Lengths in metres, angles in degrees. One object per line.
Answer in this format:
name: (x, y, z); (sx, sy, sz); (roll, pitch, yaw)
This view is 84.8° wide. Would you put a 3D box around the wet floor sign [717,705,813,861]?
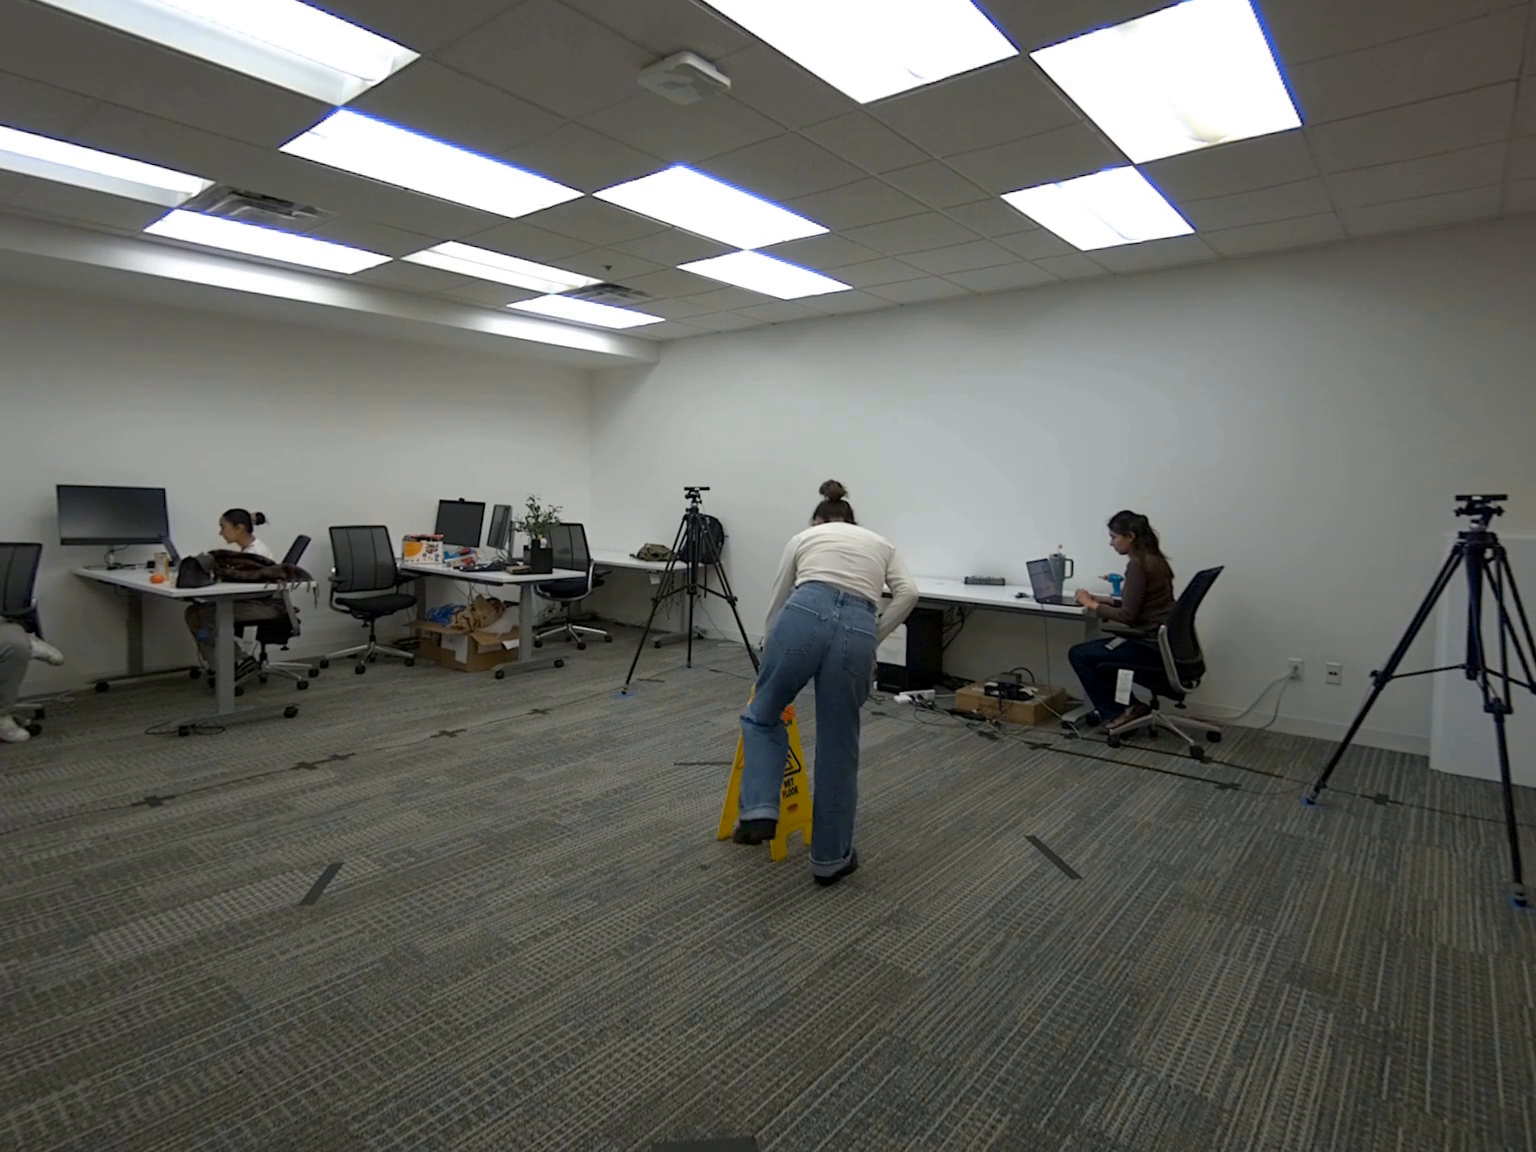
wet floor sign: (0.000, 0.720, 3.355); (0.299, 0.644, 0.274); (4, 5, 40)
